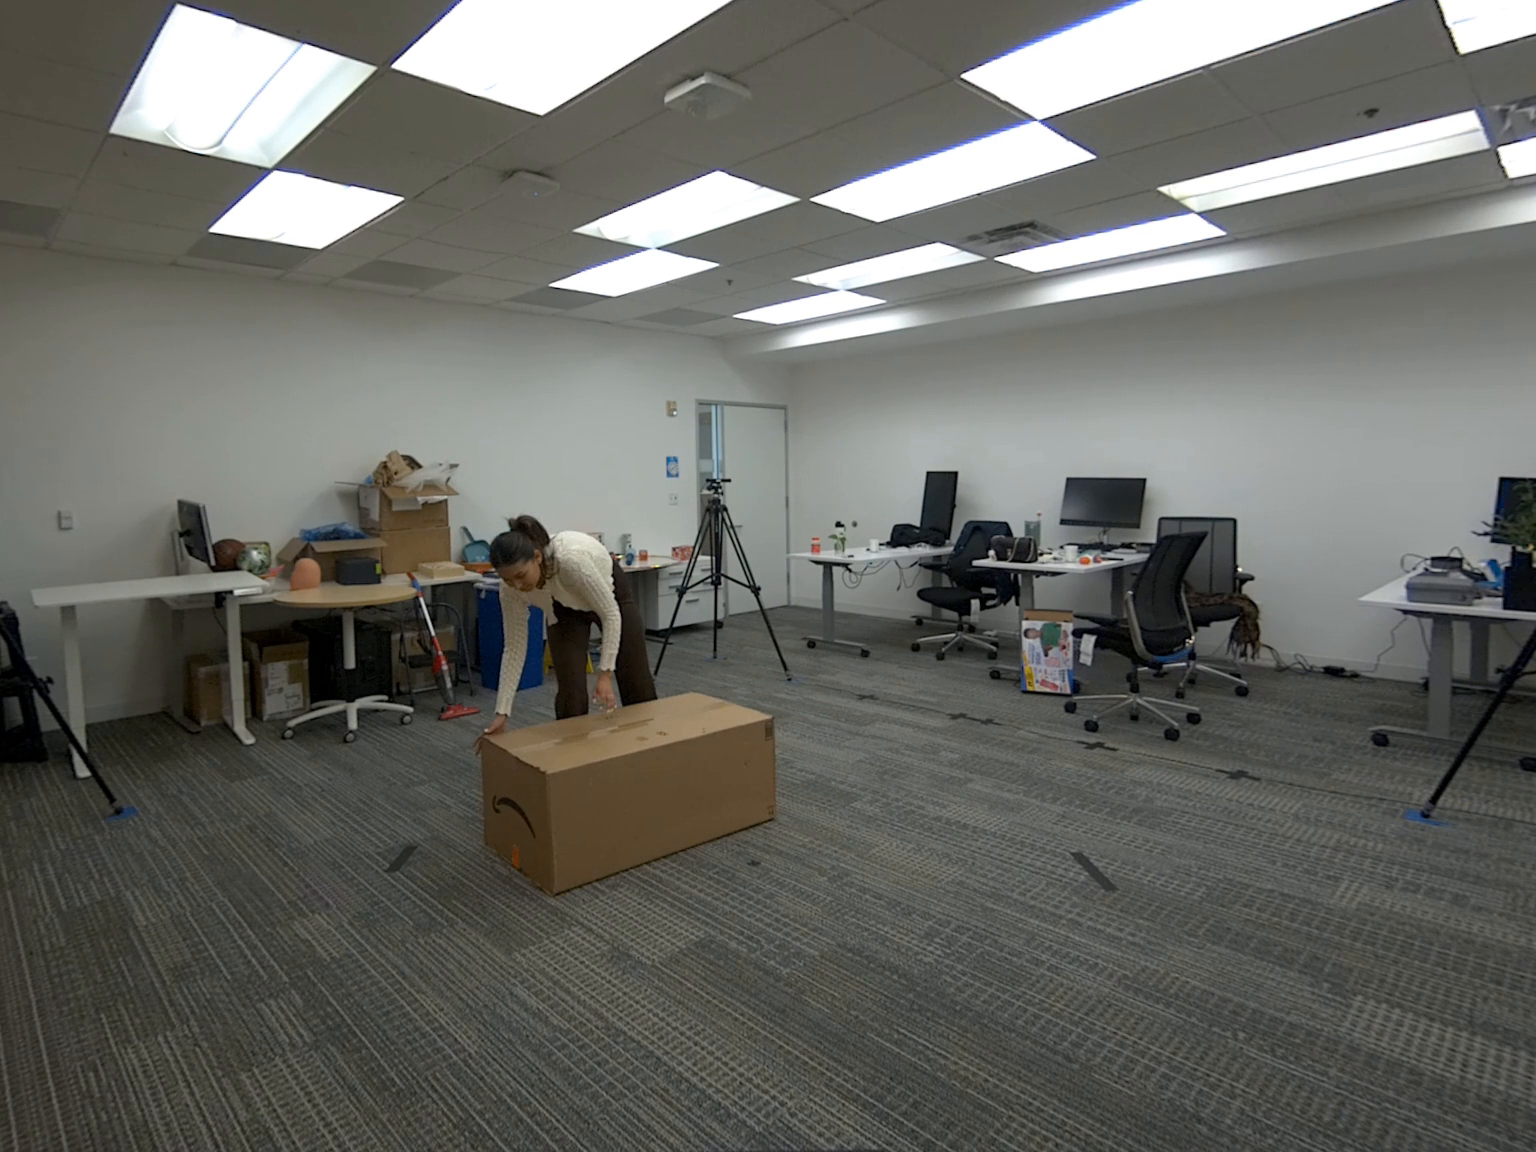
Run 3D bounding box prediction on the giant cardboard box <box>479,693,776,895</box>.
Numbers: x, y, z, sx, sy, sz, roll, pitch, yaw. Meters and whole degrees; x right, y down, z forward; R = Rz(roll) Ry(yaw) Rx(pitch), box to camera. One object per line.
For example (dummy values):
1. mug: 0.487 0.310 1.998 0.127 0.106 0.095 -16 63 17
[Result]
1. giant cardboard box: -0.536 0.809 3.395 0.999 0.424 0.595 -6 7 -39
